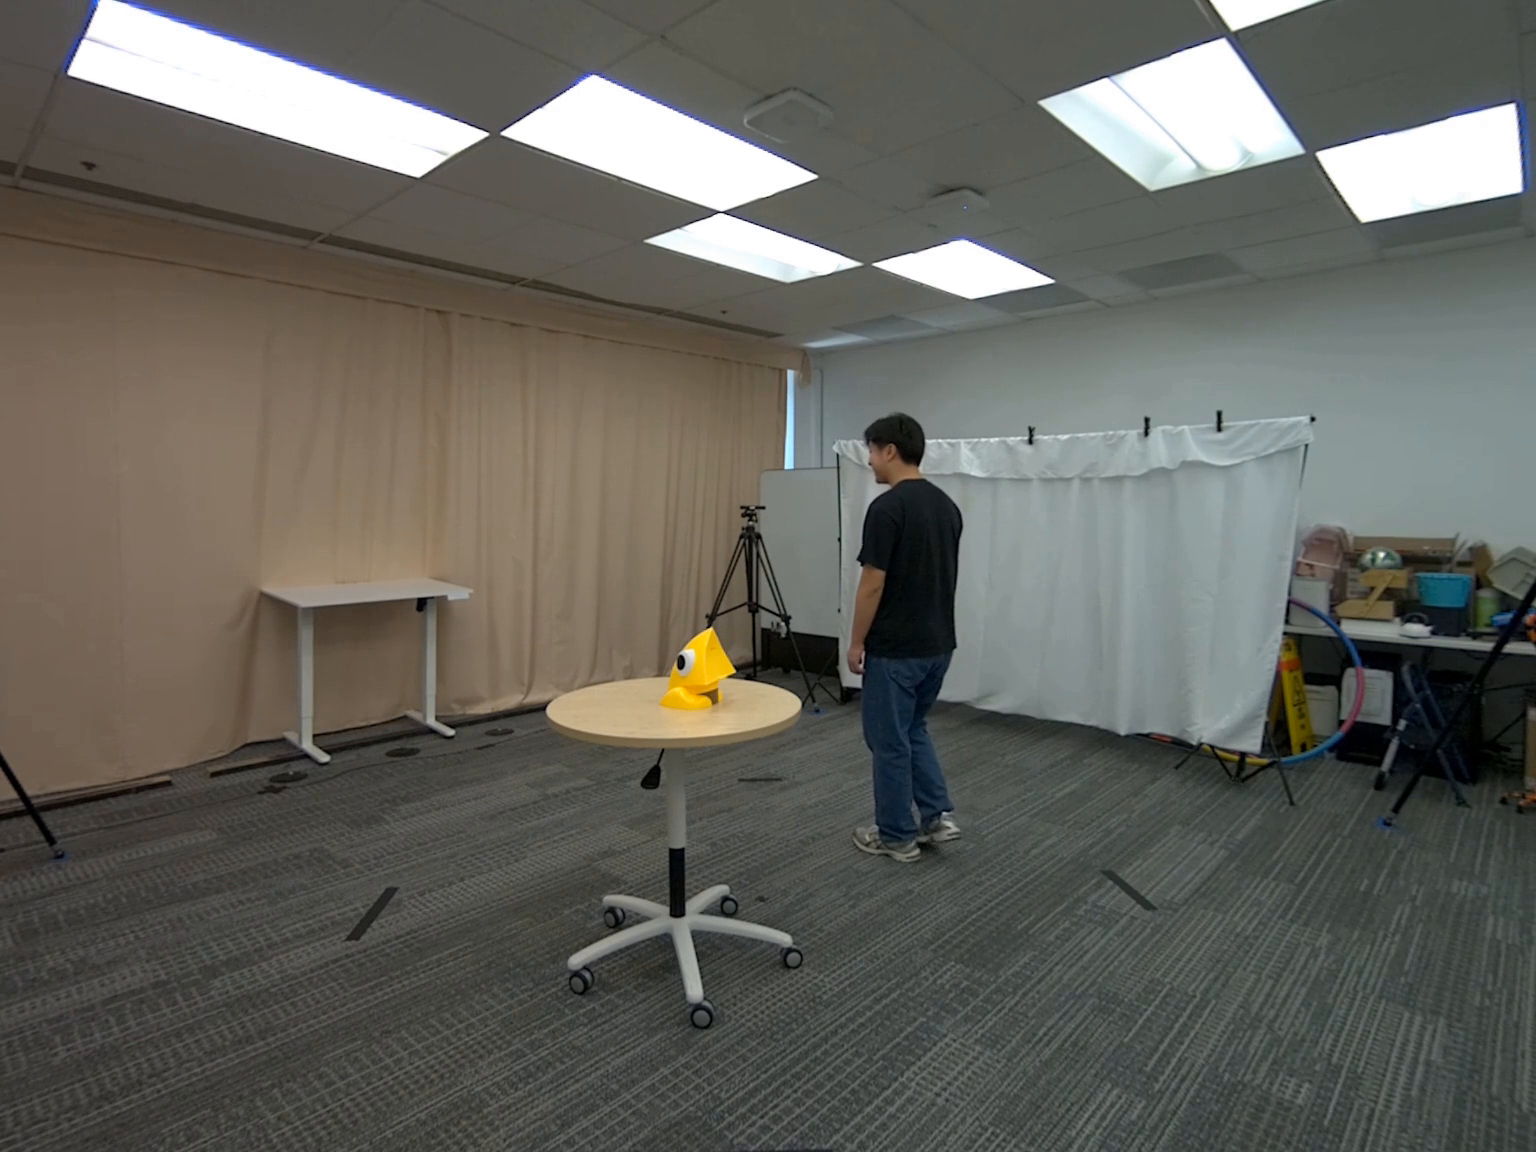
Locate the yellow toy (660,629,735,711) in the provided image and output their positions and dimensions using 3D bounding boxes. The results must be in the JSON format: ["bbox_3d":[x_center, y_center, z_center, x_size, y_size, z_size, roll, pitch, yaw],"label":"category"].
[{"bbox_3d":[-0.220,0.271,2.558,0.198,0.230,0.200,2,5,24],"label":"yellow toy"}]
